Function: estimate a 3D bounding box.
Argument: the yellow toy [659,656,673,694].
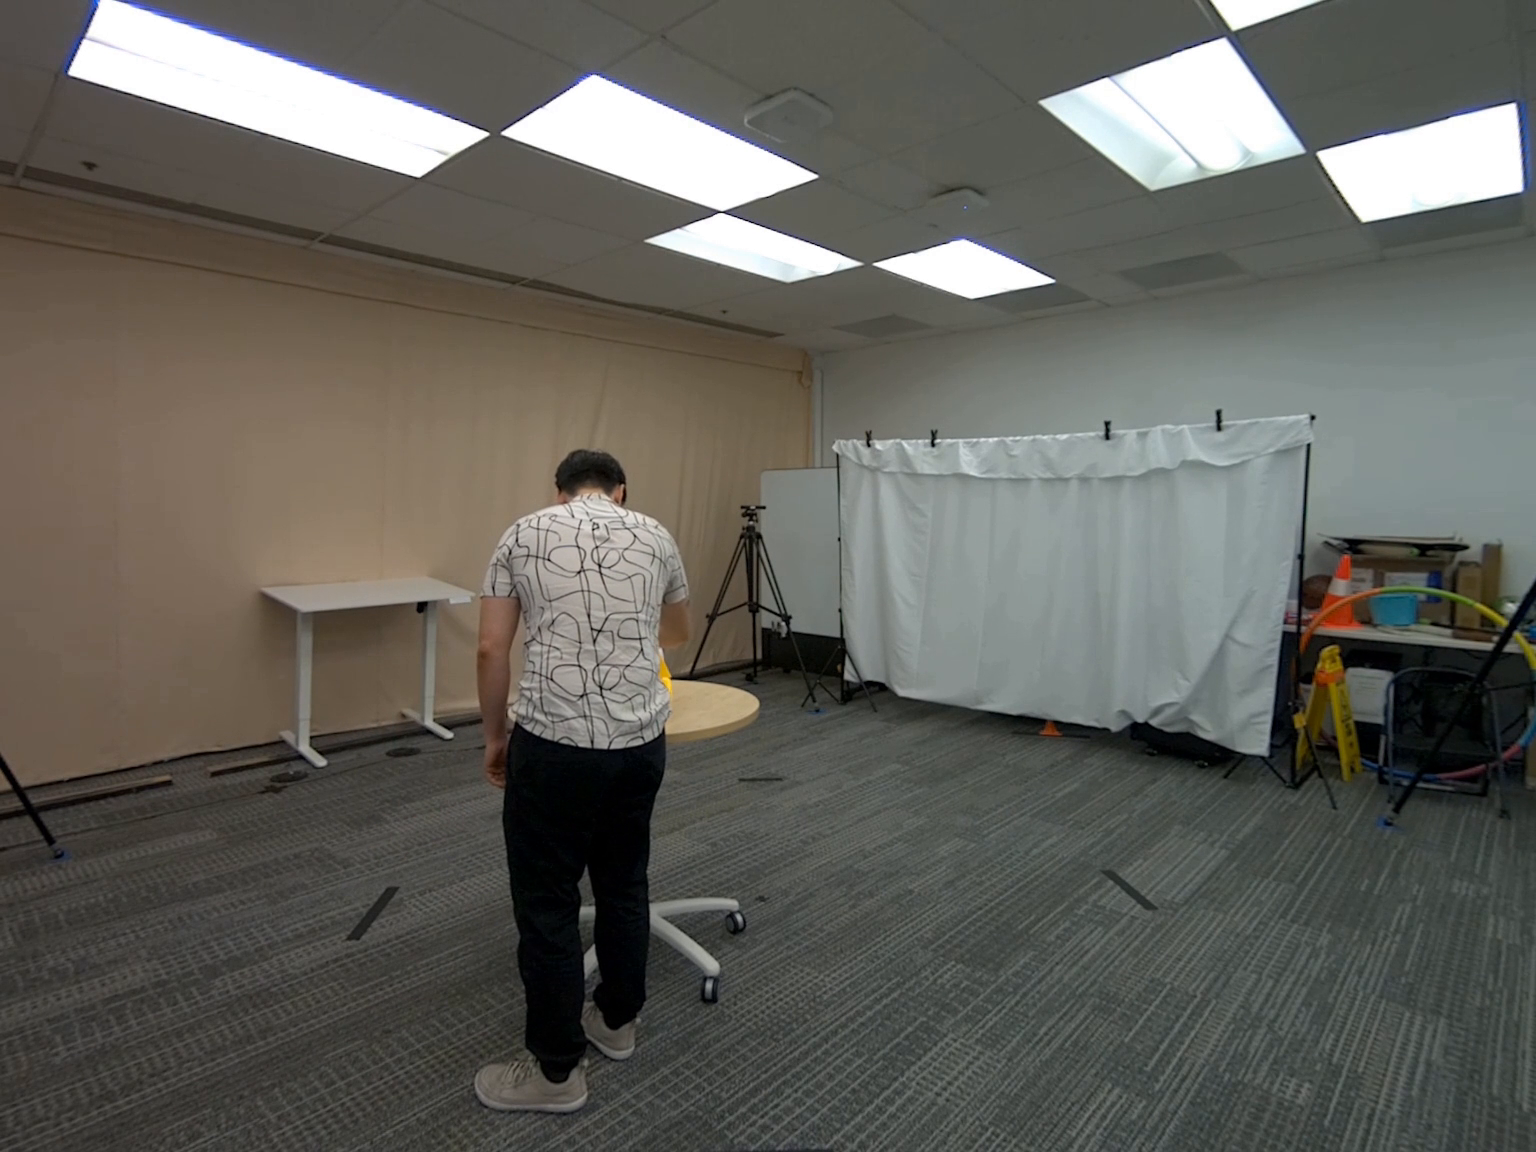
[{"bbox_3d":[-0.407,0.274,2.699,0.204,0.230,0.194,-1,3,-3],"label":"yellow toy"}]
